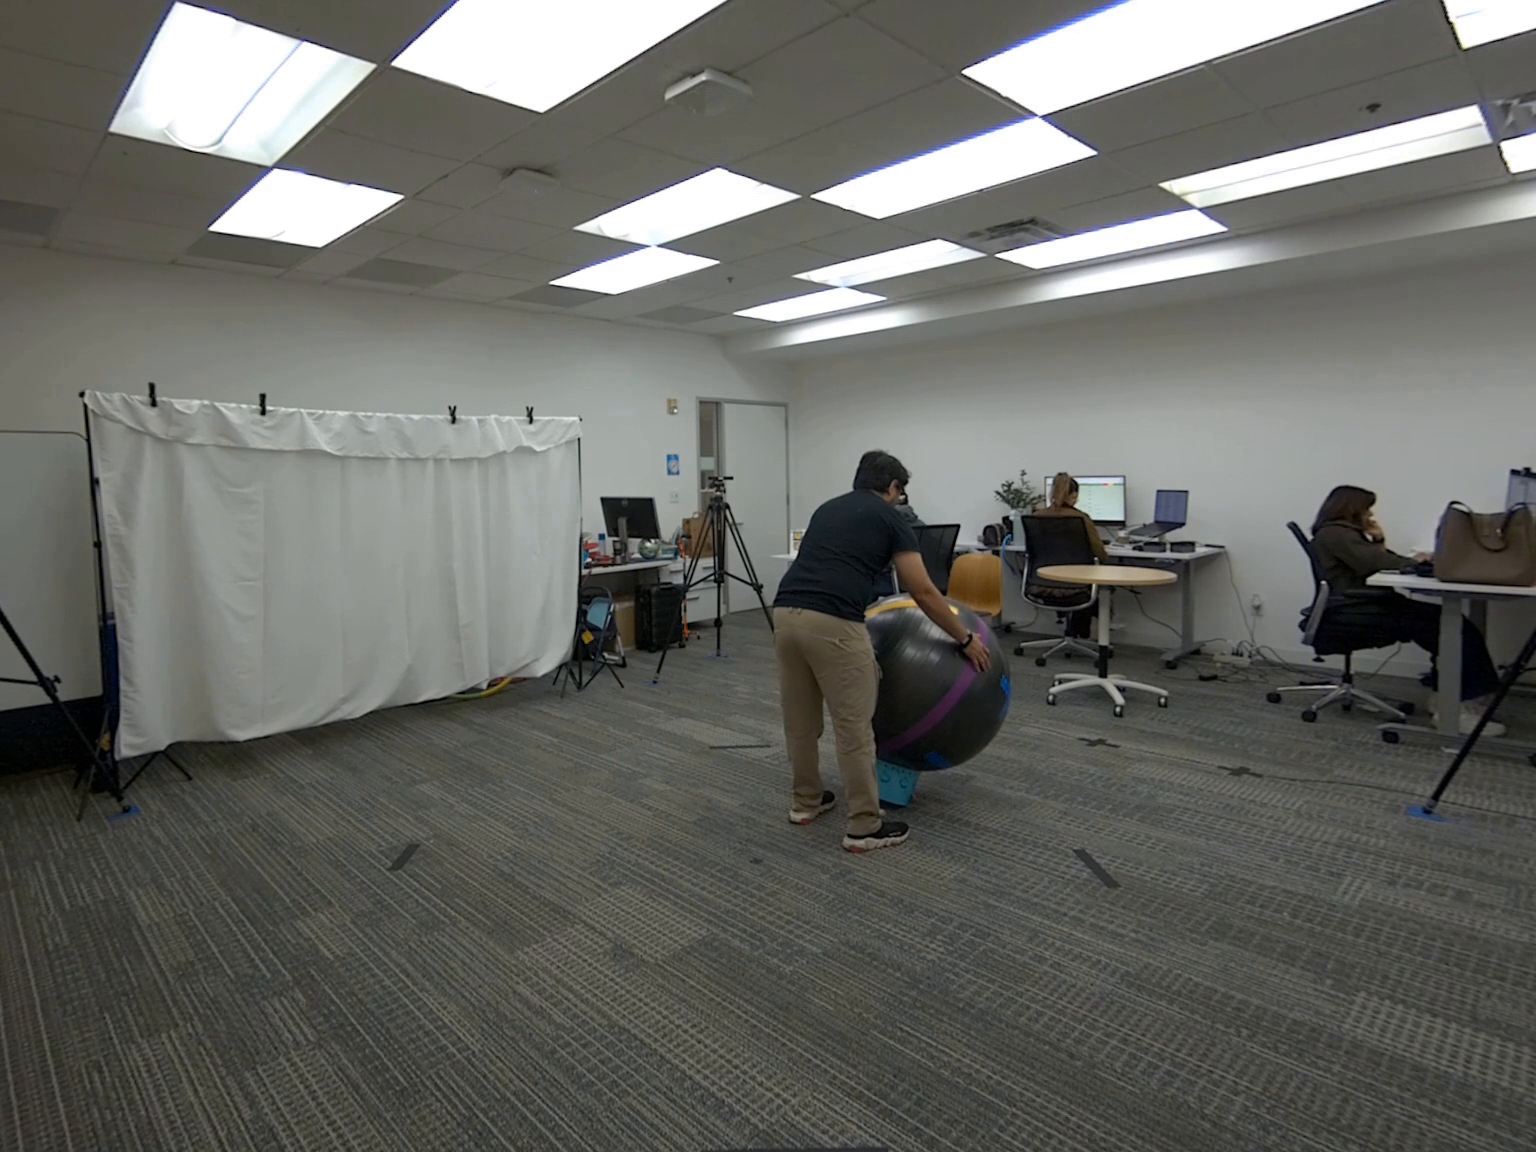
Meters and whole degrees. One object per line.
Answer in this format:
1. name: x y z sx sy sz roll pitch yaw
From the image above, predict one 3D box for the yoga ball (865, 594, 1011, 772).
1. yoga ball: 0.653 0.454 3.678 0.757 0.755 0.762 -1 5 -2
